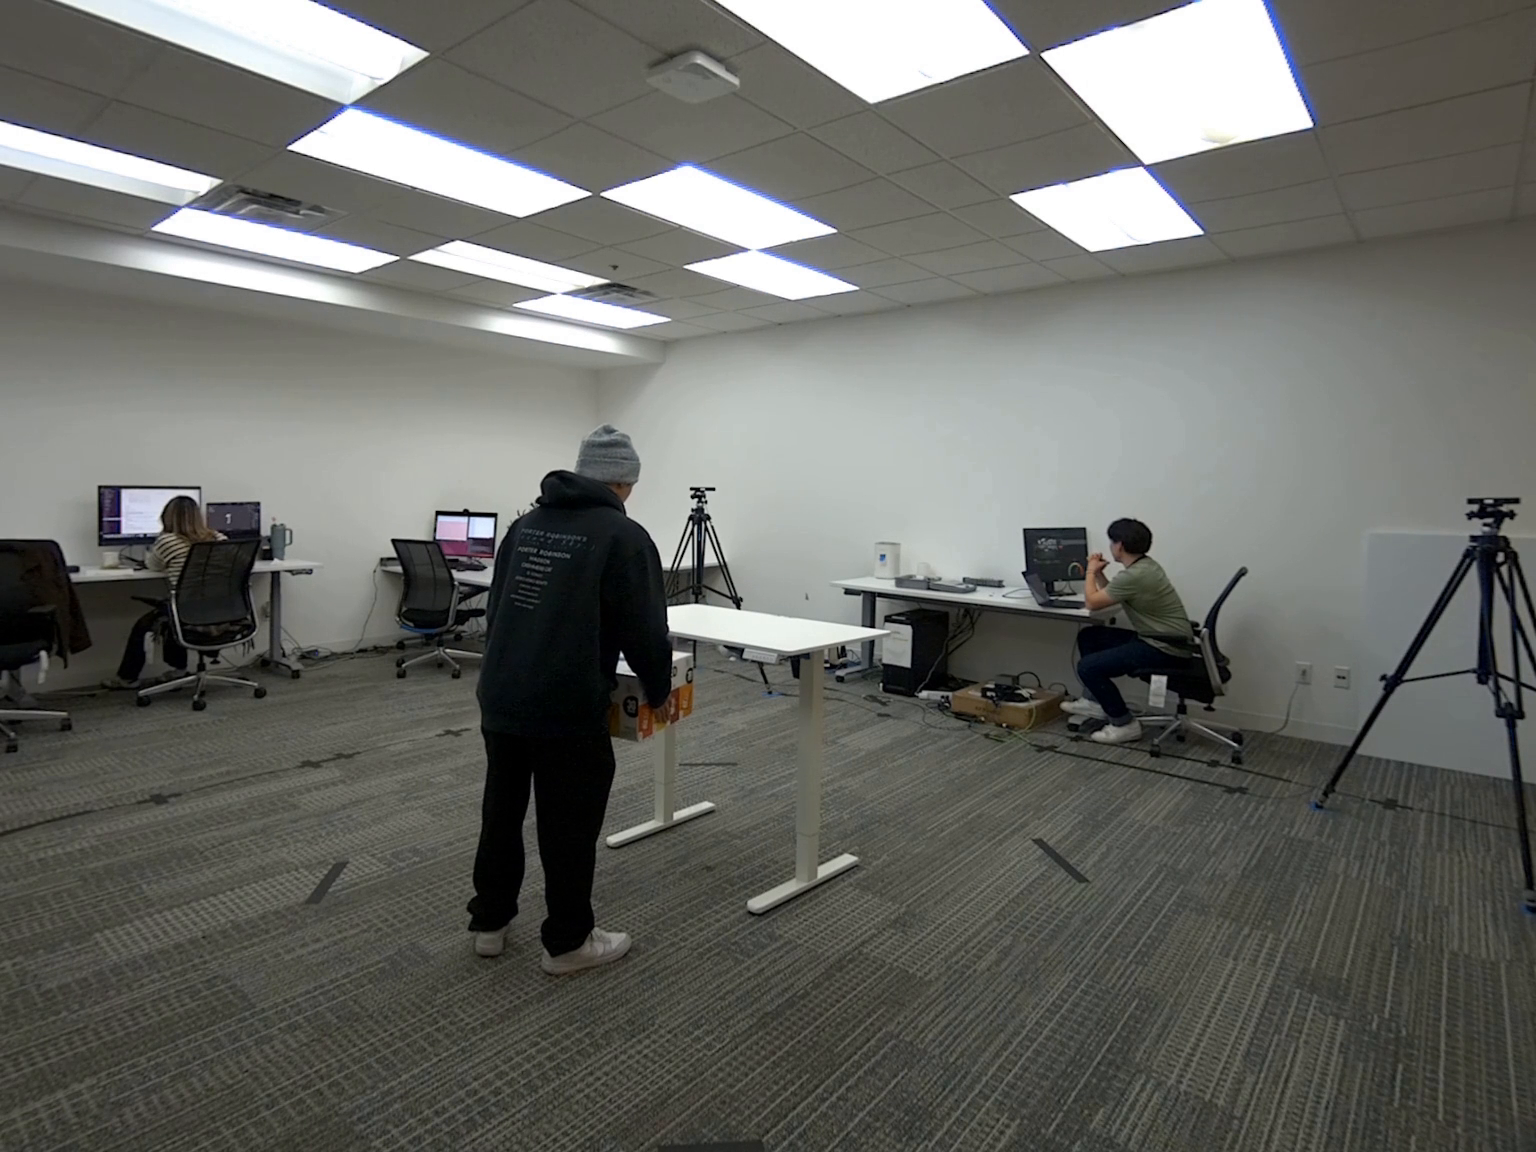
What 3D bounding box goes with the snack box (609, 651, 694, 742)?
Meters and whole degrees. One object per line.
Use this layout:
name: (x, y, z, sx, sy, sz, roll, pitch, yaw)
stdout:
snack box: (-0.511, 0.356, 2.733, 0.416, 0.205, 0.333, 4, 7, 25)
